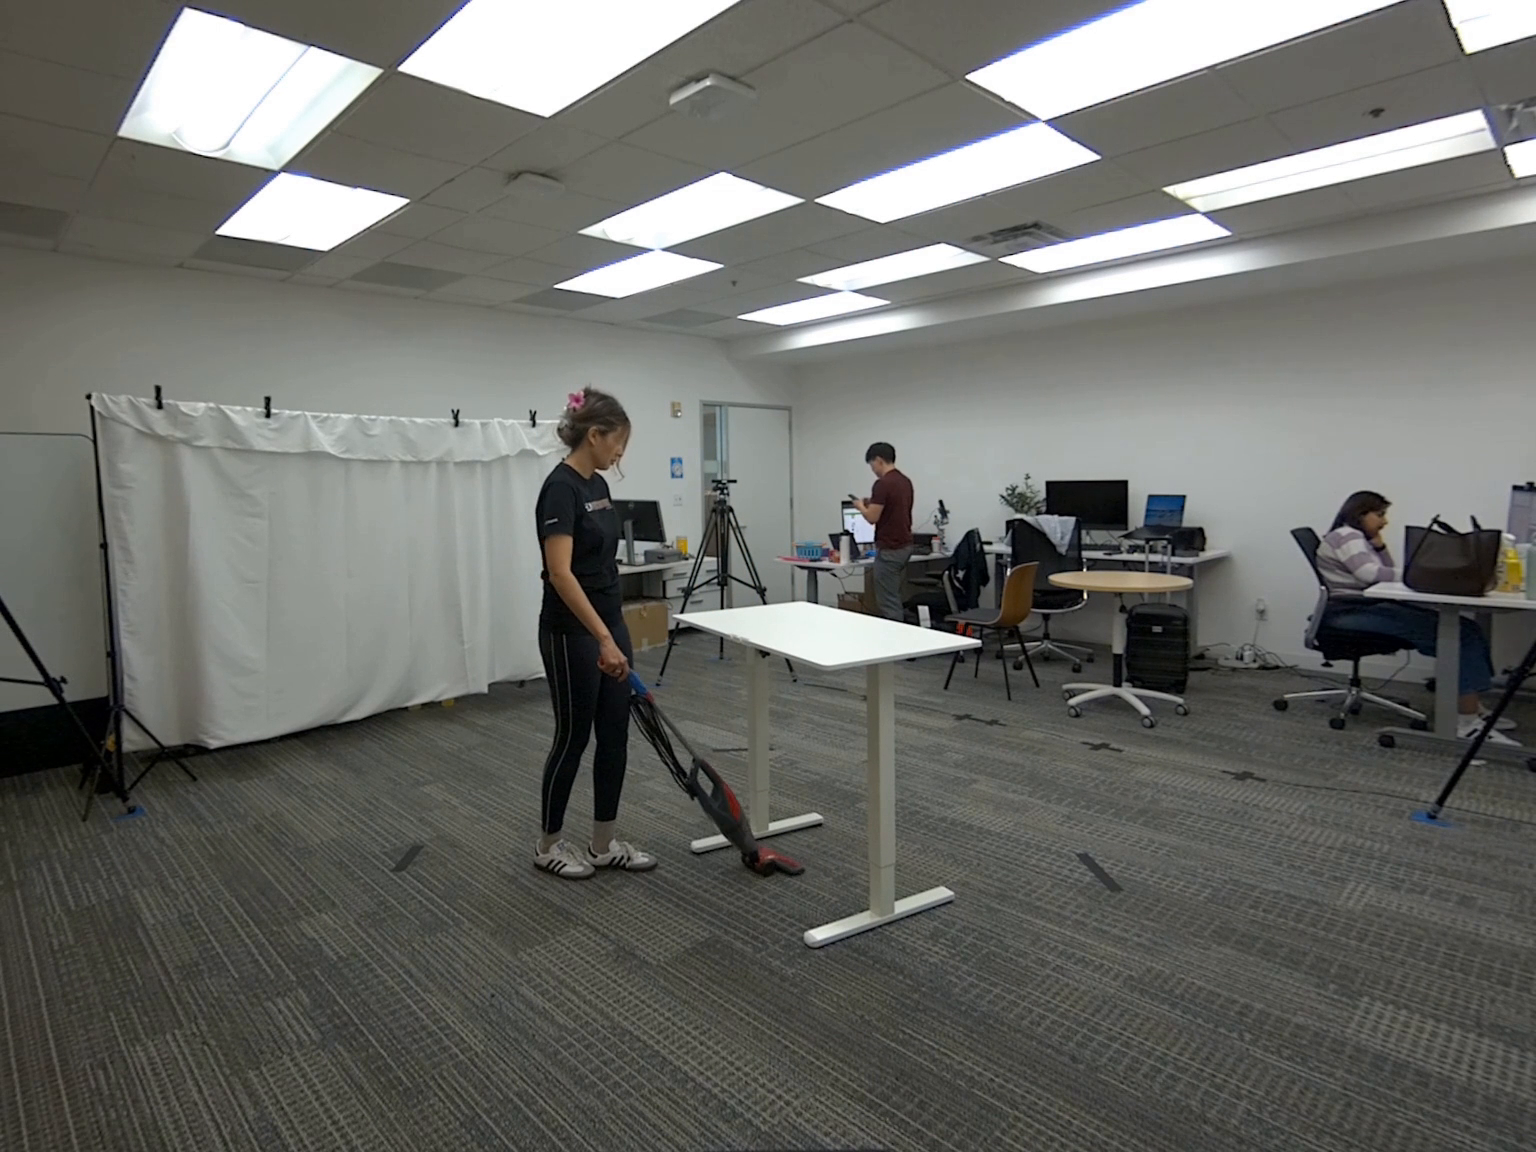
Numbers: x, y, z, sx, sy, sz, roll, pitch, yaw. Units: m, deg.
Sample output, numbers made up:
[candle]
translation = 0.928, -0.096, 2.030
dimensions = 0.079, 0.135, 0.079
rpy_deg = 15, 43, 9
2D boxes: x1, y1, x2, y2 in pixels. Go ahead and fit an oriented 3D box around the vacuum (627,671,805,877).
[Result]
[vacuum]
translation = -0.256, 0.656, 2.890
dimensions = 0.260, 1.019, 0.144
rpy_deg = 2, 43, 52
